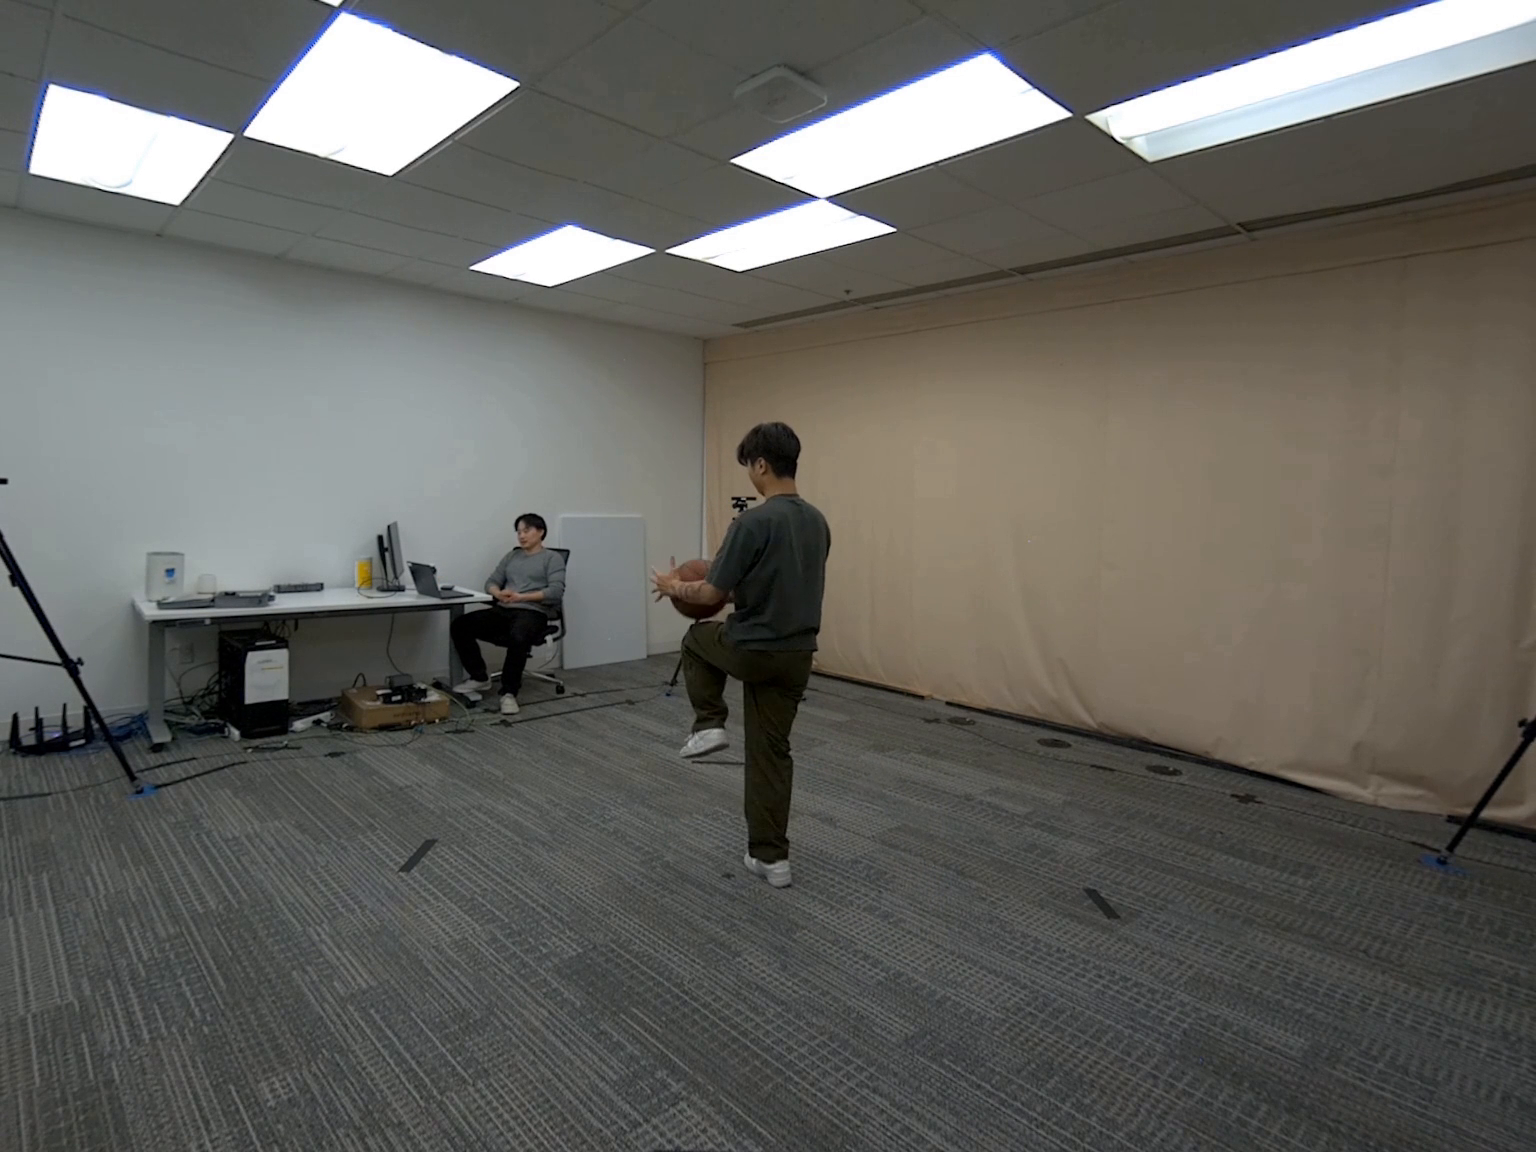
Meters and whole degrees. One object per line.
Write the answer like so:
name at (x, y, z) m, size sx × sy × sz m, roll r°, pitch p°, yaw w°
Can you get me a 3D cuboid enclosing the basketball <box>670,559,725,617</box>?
basketball at (-0.279, -0.008, 3.296) m, size 0.236 × 0.235 × 0.237 m, roll 1°, pitch 4°, yaw -1°
